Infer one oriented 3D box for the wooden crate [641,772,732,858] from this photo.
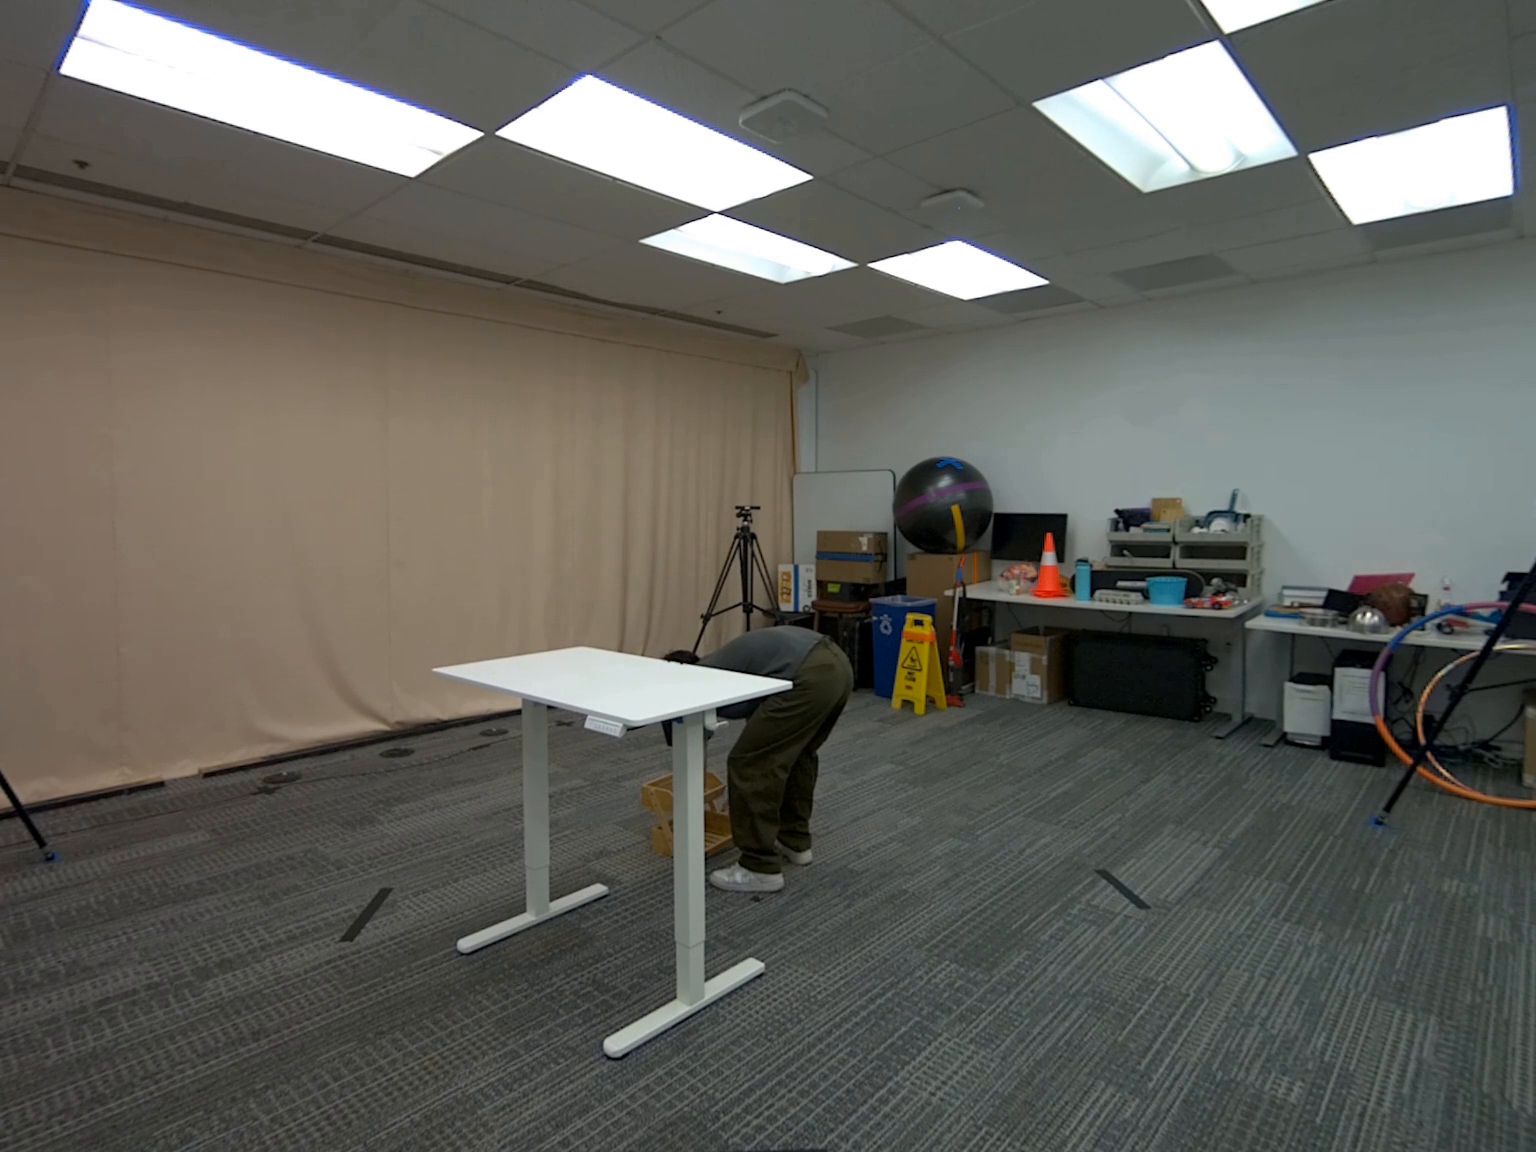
[{"bbox_3d":[-0.304,0.972,3.461,0.311,0.273,0.315,1,4,35],"label":"wooden crate"}]
